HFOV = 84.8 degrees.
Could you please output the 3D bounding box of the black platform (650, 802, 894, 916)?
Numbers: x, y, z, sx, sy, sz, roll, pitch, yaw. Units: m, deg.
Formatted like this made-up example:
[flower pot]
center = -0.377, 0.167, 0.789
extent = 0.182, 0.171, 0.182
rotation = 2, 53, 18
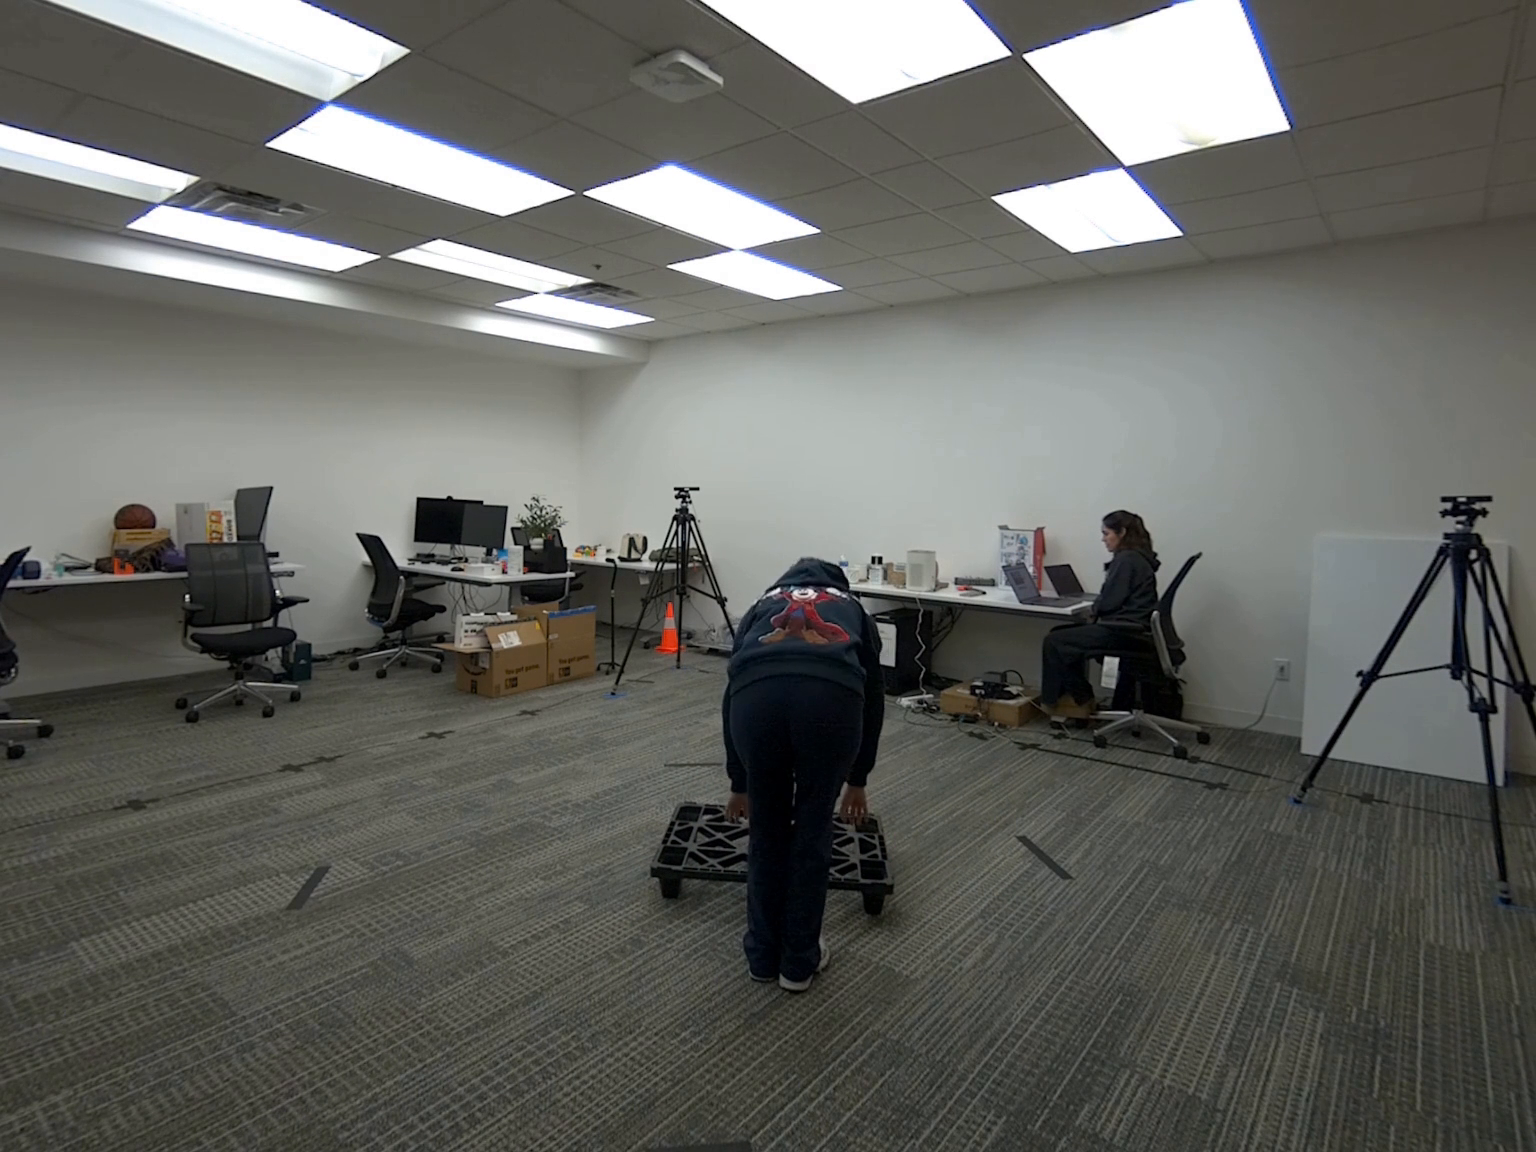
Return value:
[black platform]
center = 0.014, 1.006, 3.060
extent = 0.811, 0.142, 0.604
rotation = 1, 6, 5
